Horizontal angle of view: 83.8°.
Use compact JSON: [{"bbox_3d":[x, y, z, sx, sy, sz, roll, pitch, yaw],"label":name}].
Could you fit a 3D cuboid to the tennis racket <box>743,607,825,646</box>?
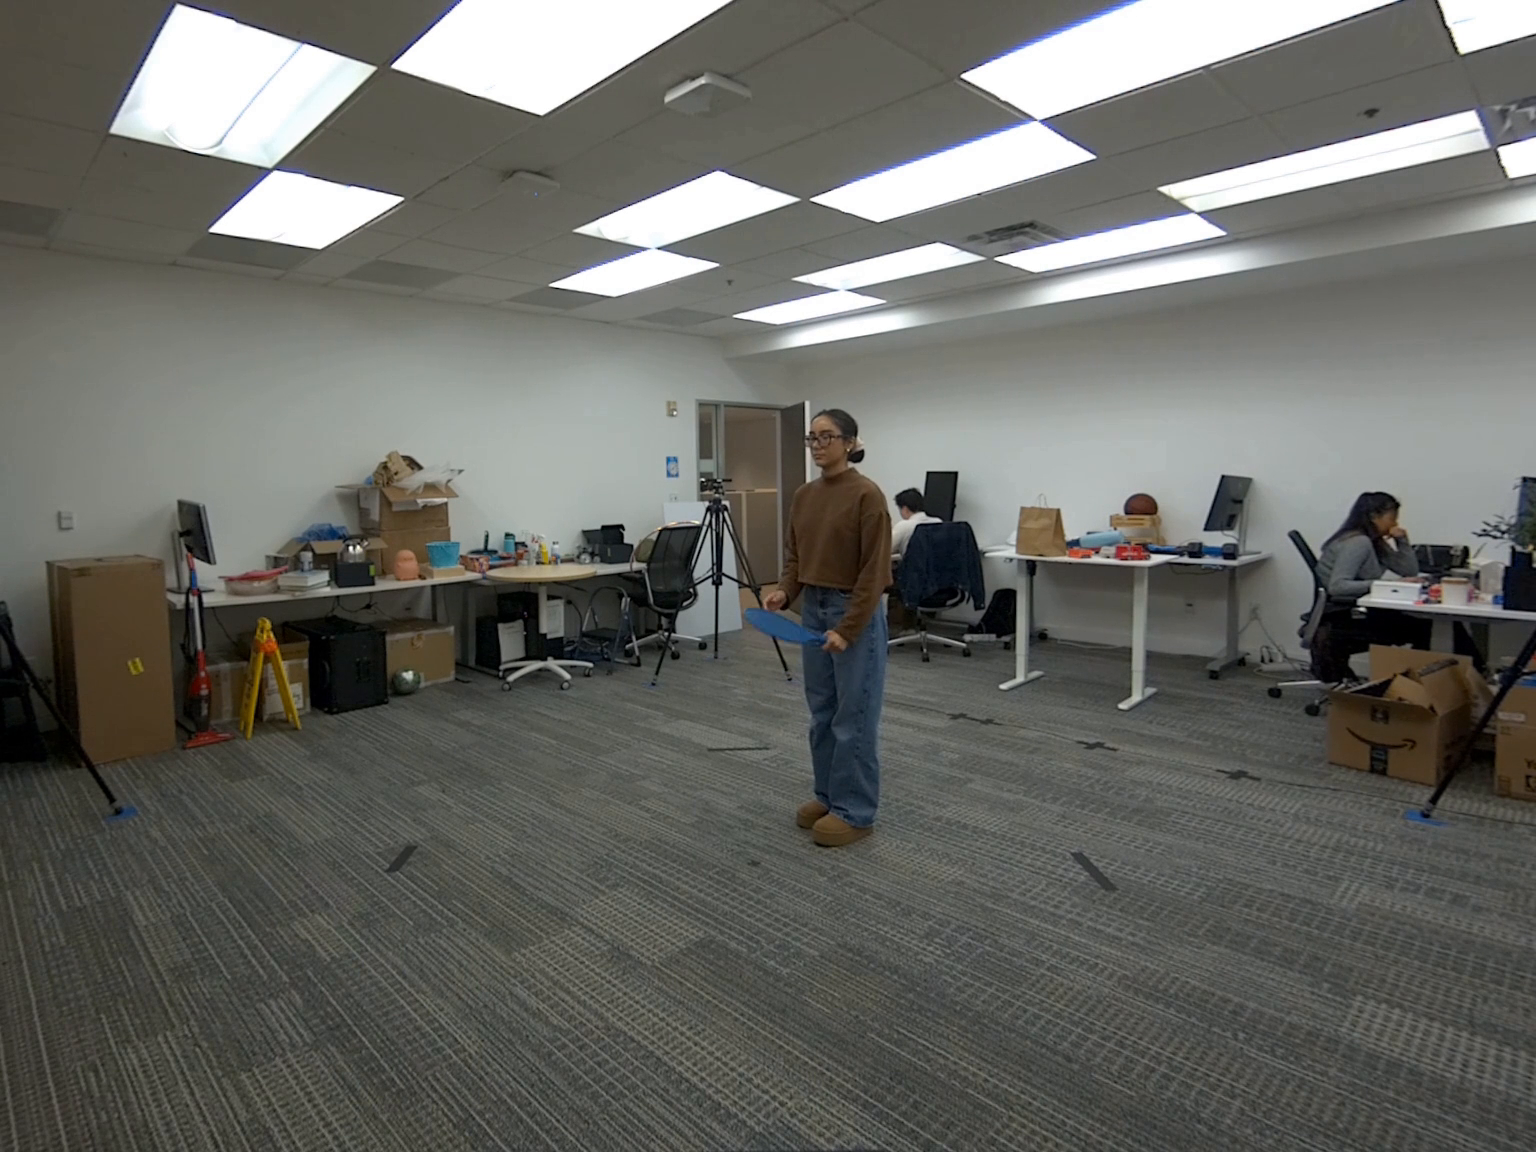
[{"bbox_3d":[0.118,0.218,3.110,0.420,0.031,0.221,19,18,-27],"label":"tennis racket"}]
